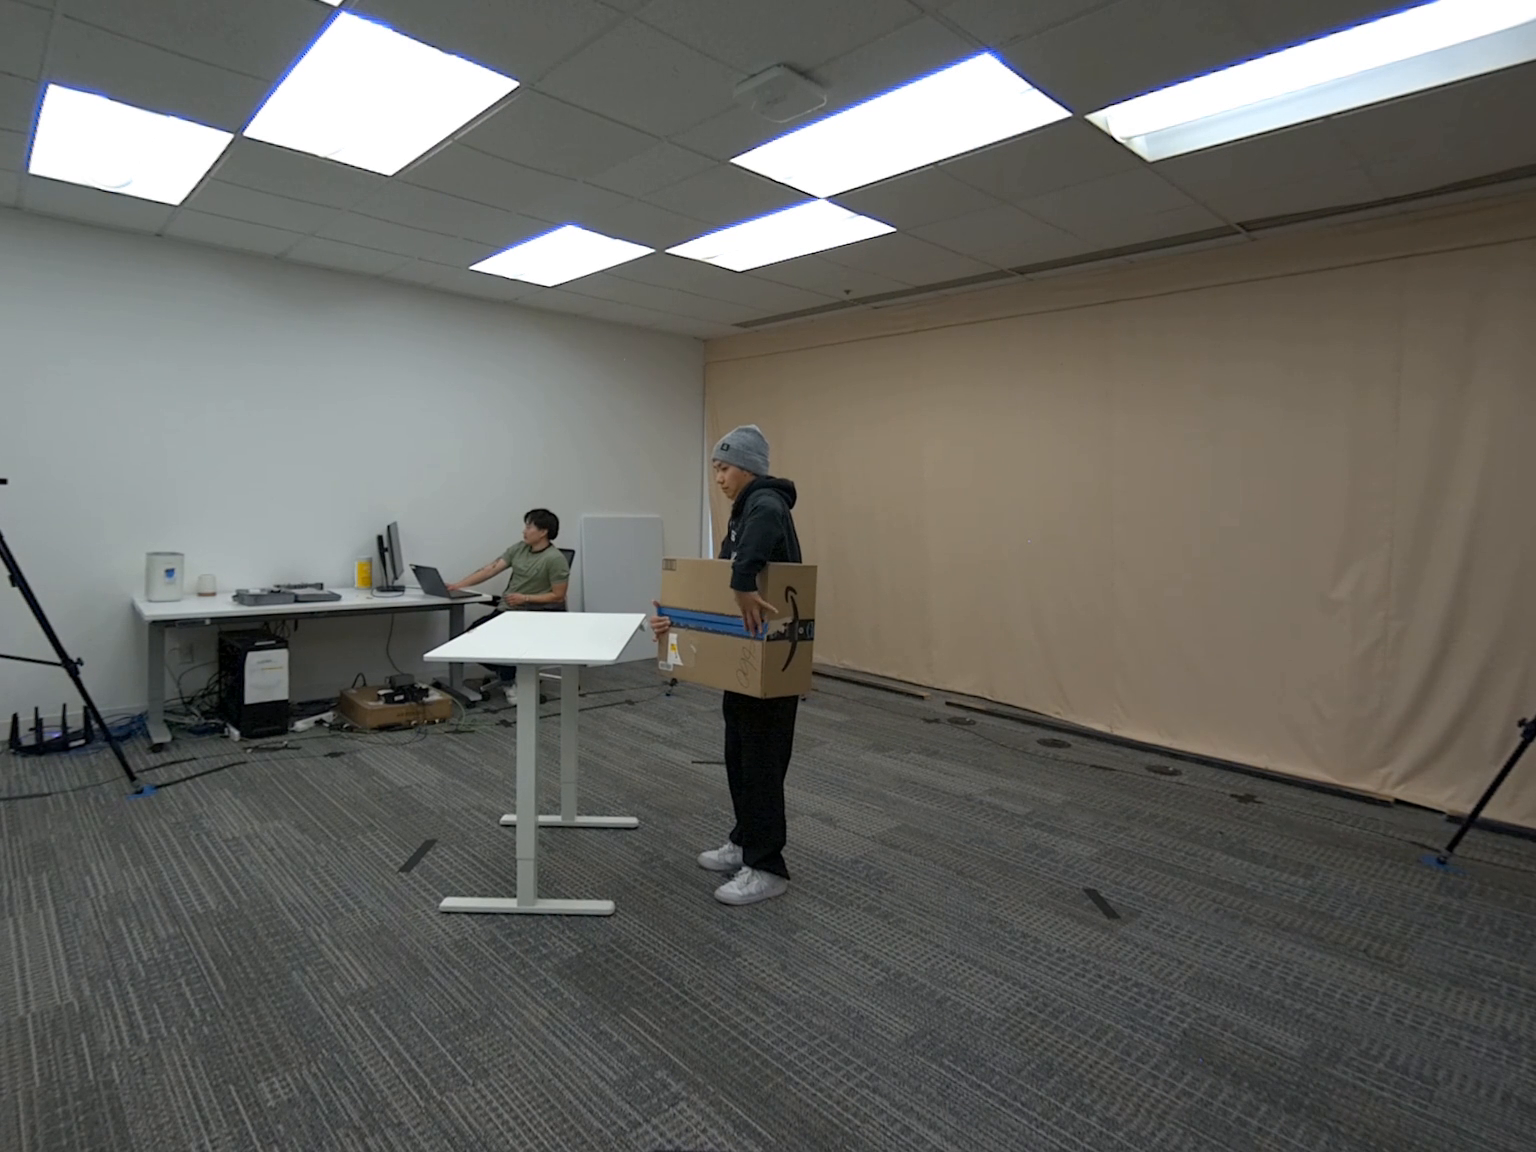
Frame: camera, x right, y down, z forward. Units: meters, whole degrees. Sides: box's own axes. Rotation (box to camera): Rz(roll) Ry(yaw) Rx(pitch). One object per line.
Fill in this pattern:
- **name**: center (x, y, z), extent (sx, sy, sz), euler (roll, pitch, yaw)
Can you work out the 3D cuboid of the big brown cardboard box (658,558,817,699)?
- **big brown cardboard box**: center (-0.130, 0.155, 2.844), extent (0.227, 0.417, 0.603), euler (3, 1, -42)
